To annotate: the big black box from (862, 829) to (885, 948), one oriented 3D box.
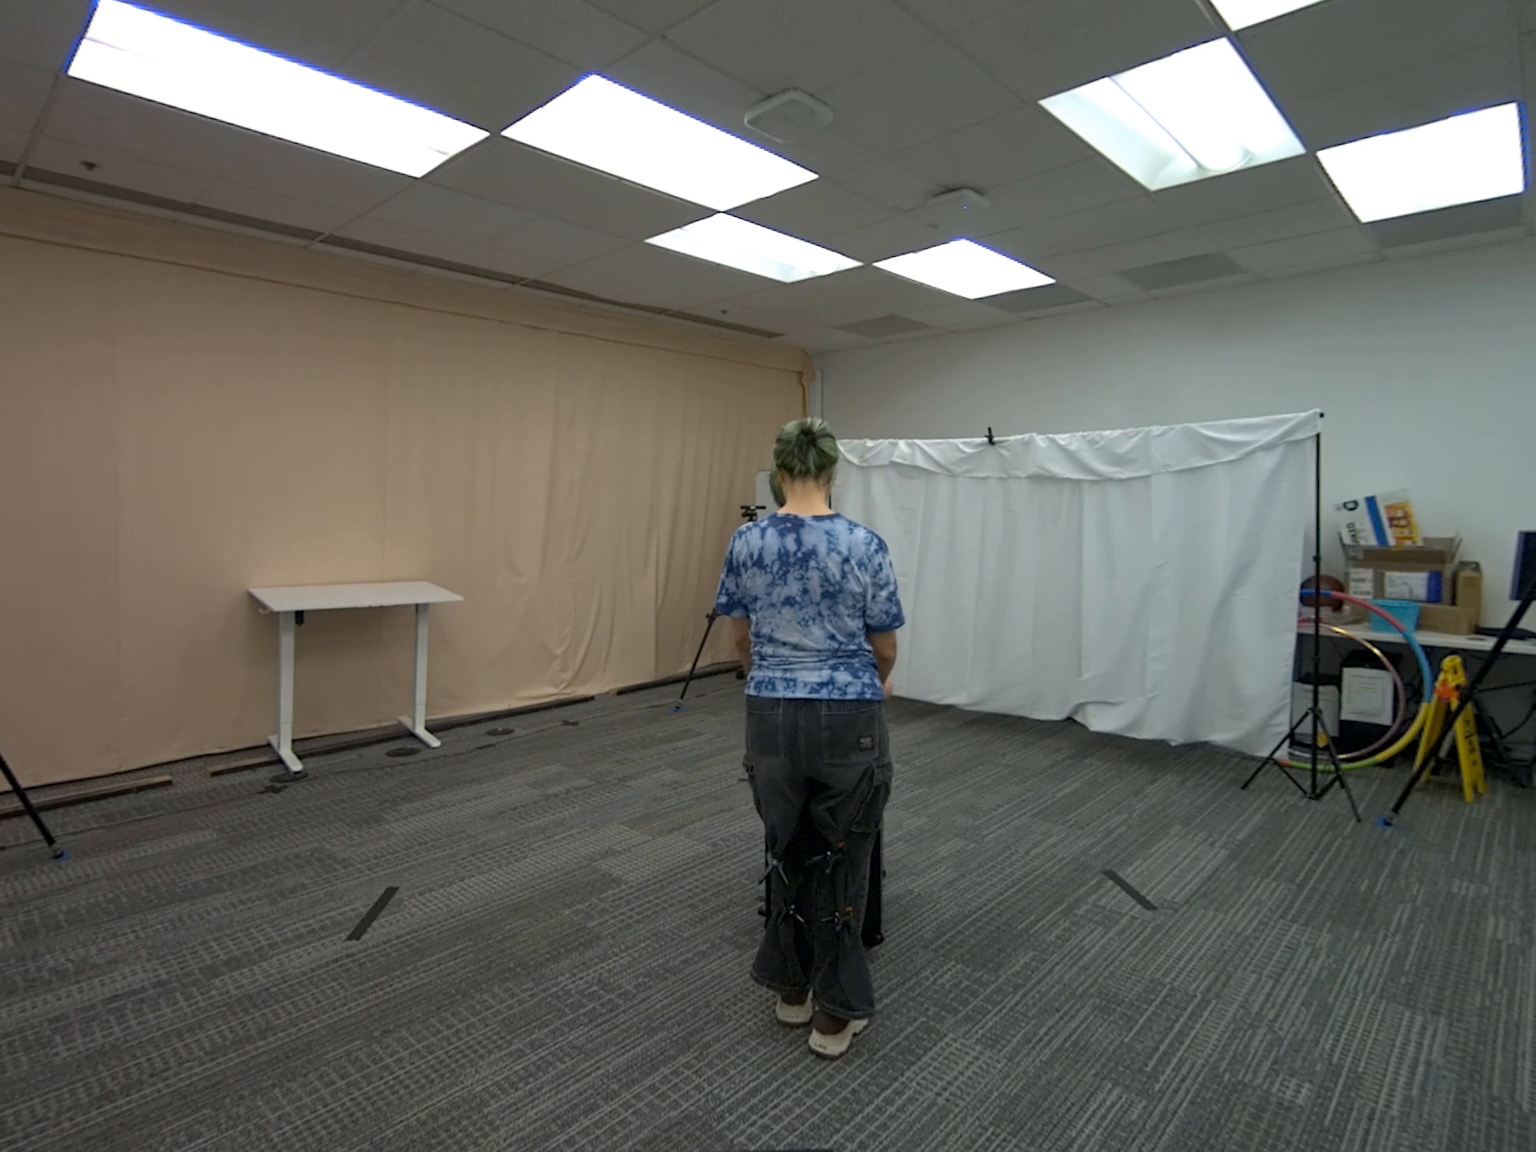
[{"bbox_3d":[0.195,0.736,2.784,0.401,0.859,0.516,0,4,11],"label":"big black box"}]
